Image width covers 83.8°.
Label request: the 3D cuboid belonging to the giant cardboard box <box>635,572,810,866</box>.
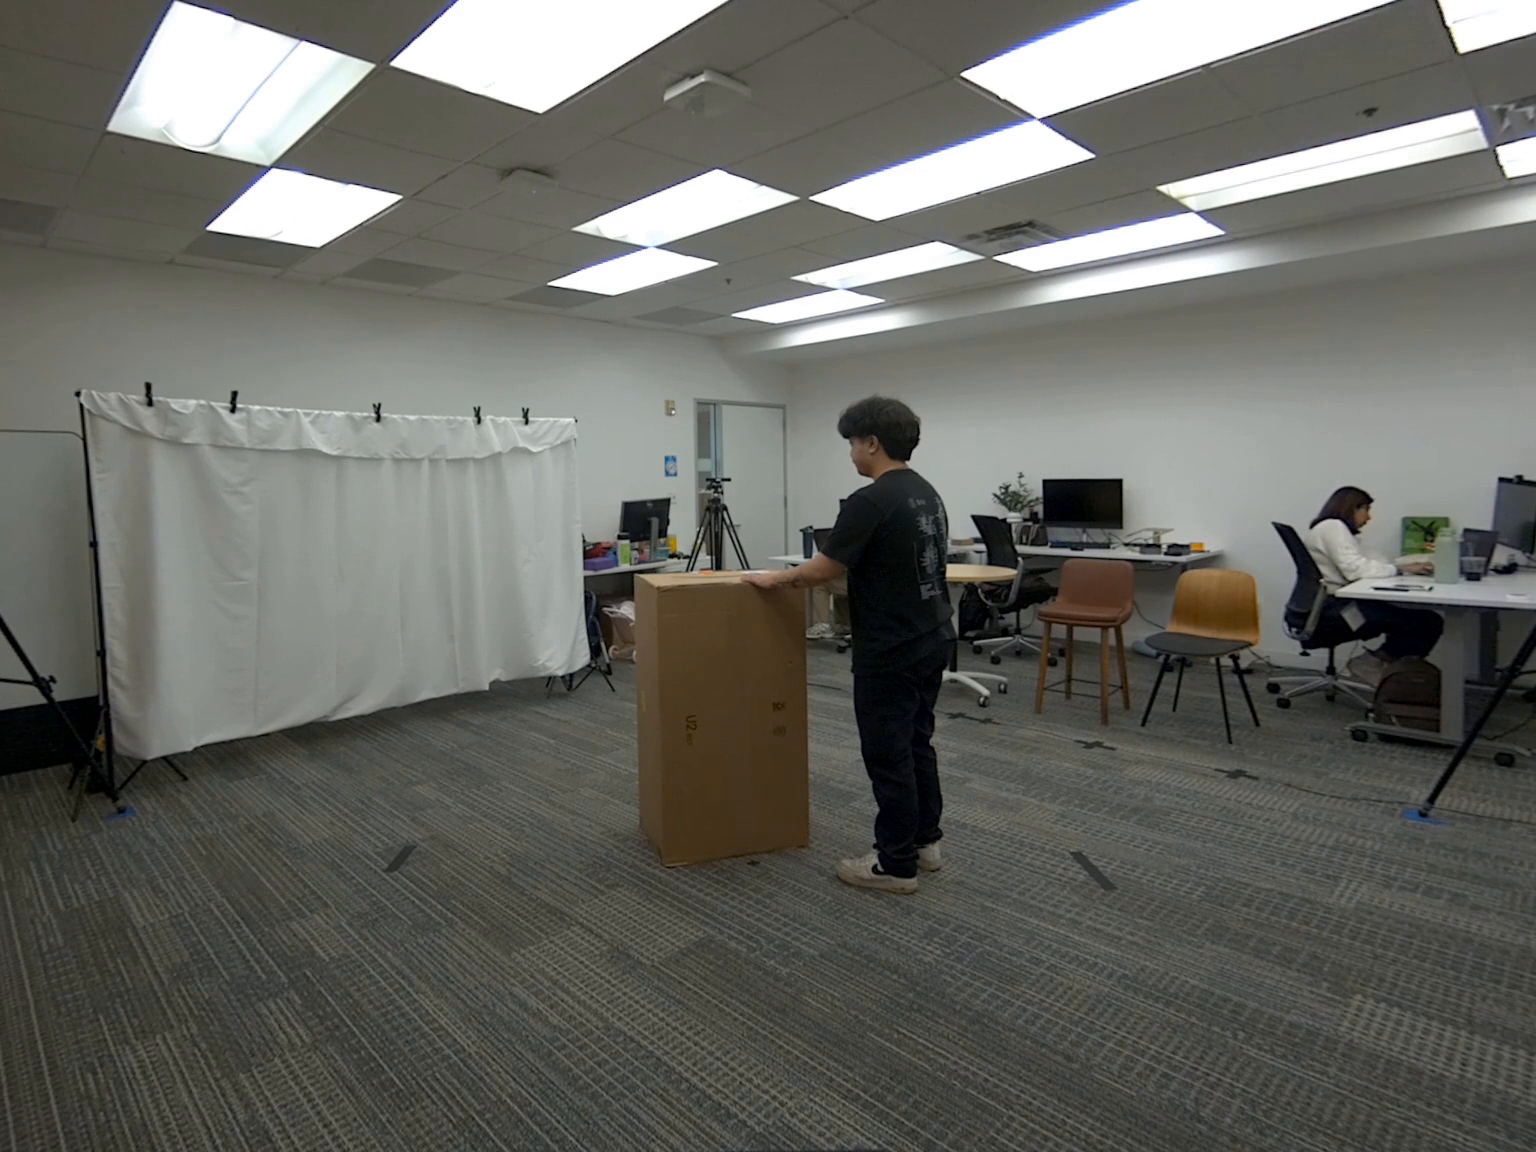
[{"bbox_3d":[-0.190,0.507,3.333,0.575,1.024,0.455,-2,4,-18],"label":"giant cardboard box"}]
